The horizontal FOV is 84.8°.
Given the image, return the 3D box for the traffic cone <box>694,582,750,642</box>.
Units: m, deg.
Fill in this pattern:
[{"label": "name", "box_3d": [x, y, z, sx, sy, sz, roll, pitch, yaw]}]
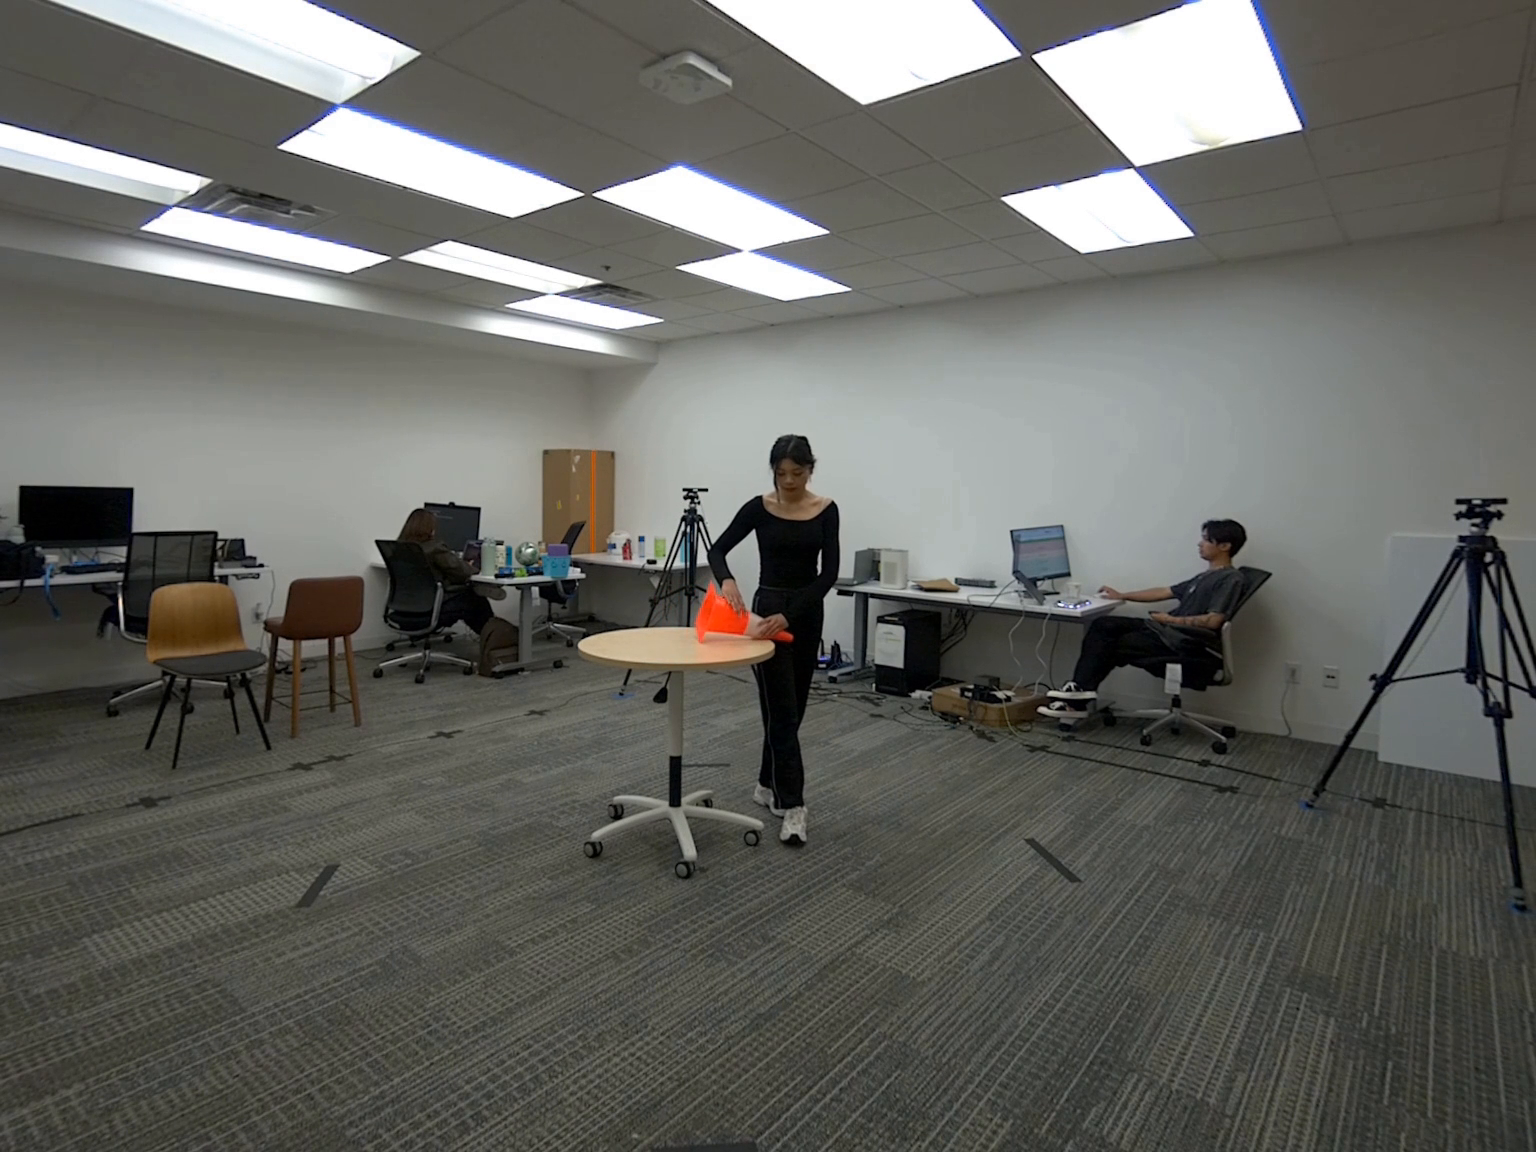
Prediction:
[{"label": "traffic cone", "box_3d": [-0.095, 0.201, 3.435, 0.378, 0.203, 0.208, 19, 21, -11]}]
